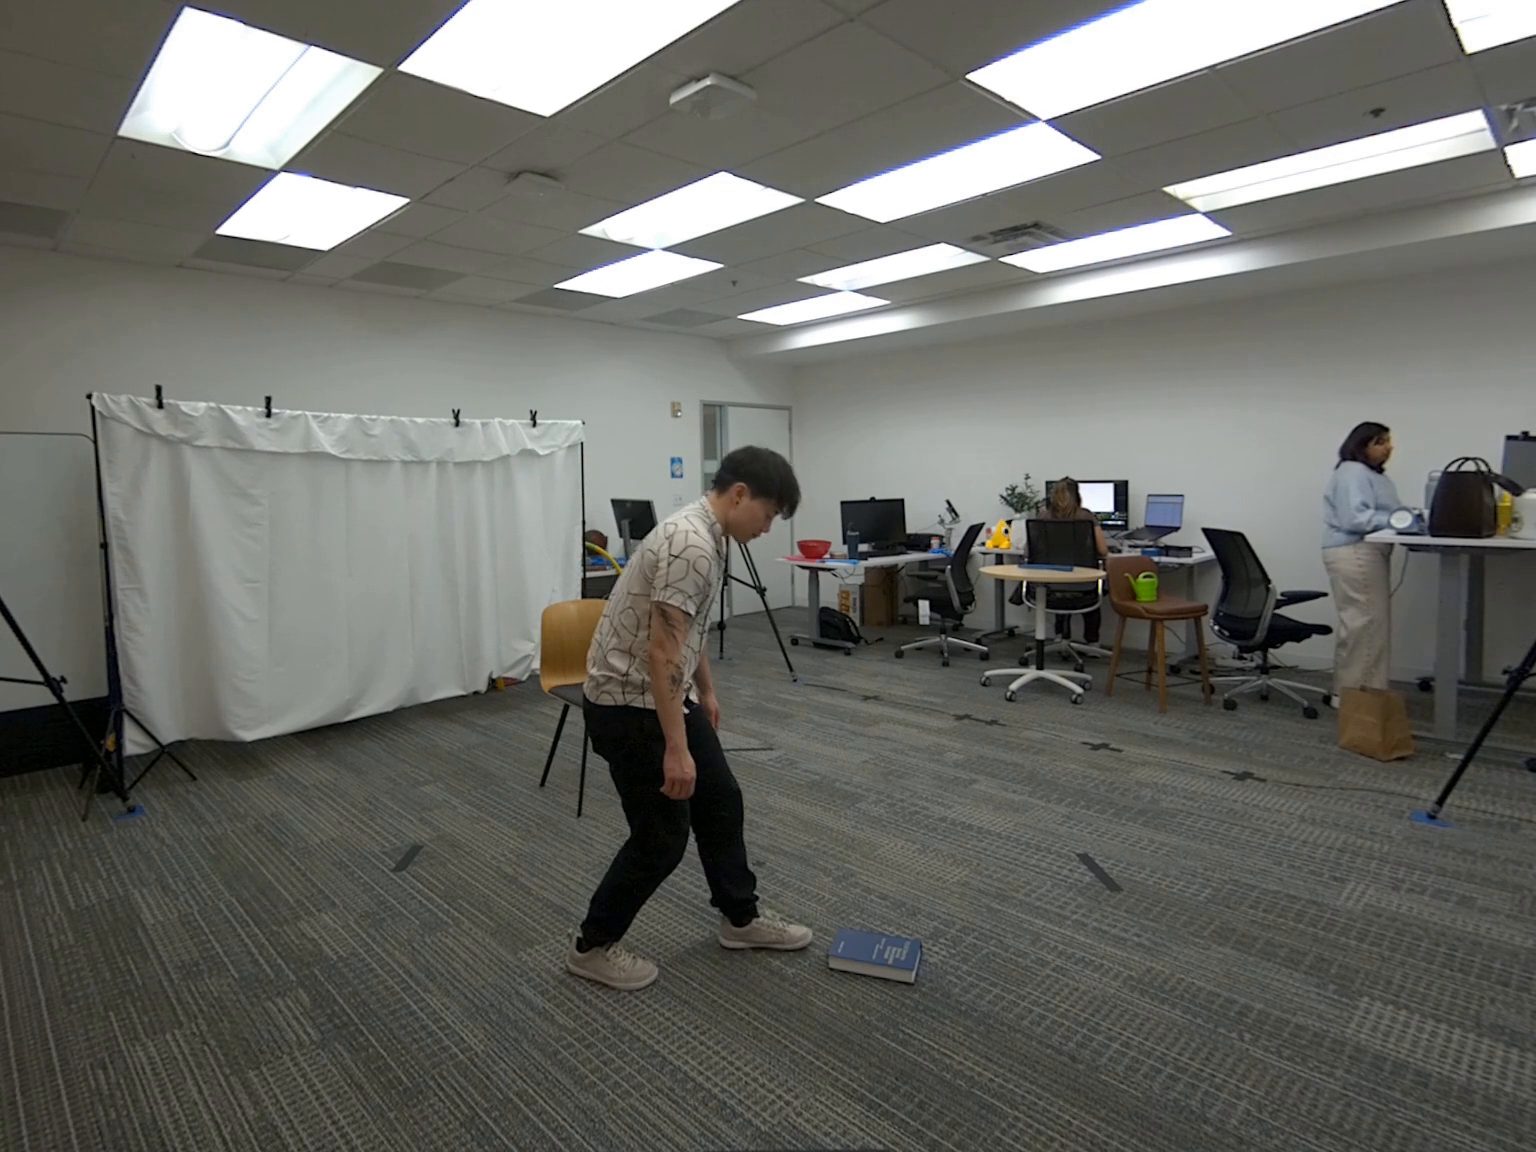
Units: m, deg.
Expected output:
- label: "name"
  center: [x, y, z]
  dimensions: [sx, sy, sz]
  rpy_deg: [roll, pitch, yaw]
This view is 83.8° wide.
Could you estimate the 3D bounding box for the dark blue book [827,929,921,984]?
- label: "dark blue book"
  center: [0.310, 1.085, 2.462]
  dimensions: [0.250, 0.045, 0.161]
  rpy_deg: [2, 8, 19]
